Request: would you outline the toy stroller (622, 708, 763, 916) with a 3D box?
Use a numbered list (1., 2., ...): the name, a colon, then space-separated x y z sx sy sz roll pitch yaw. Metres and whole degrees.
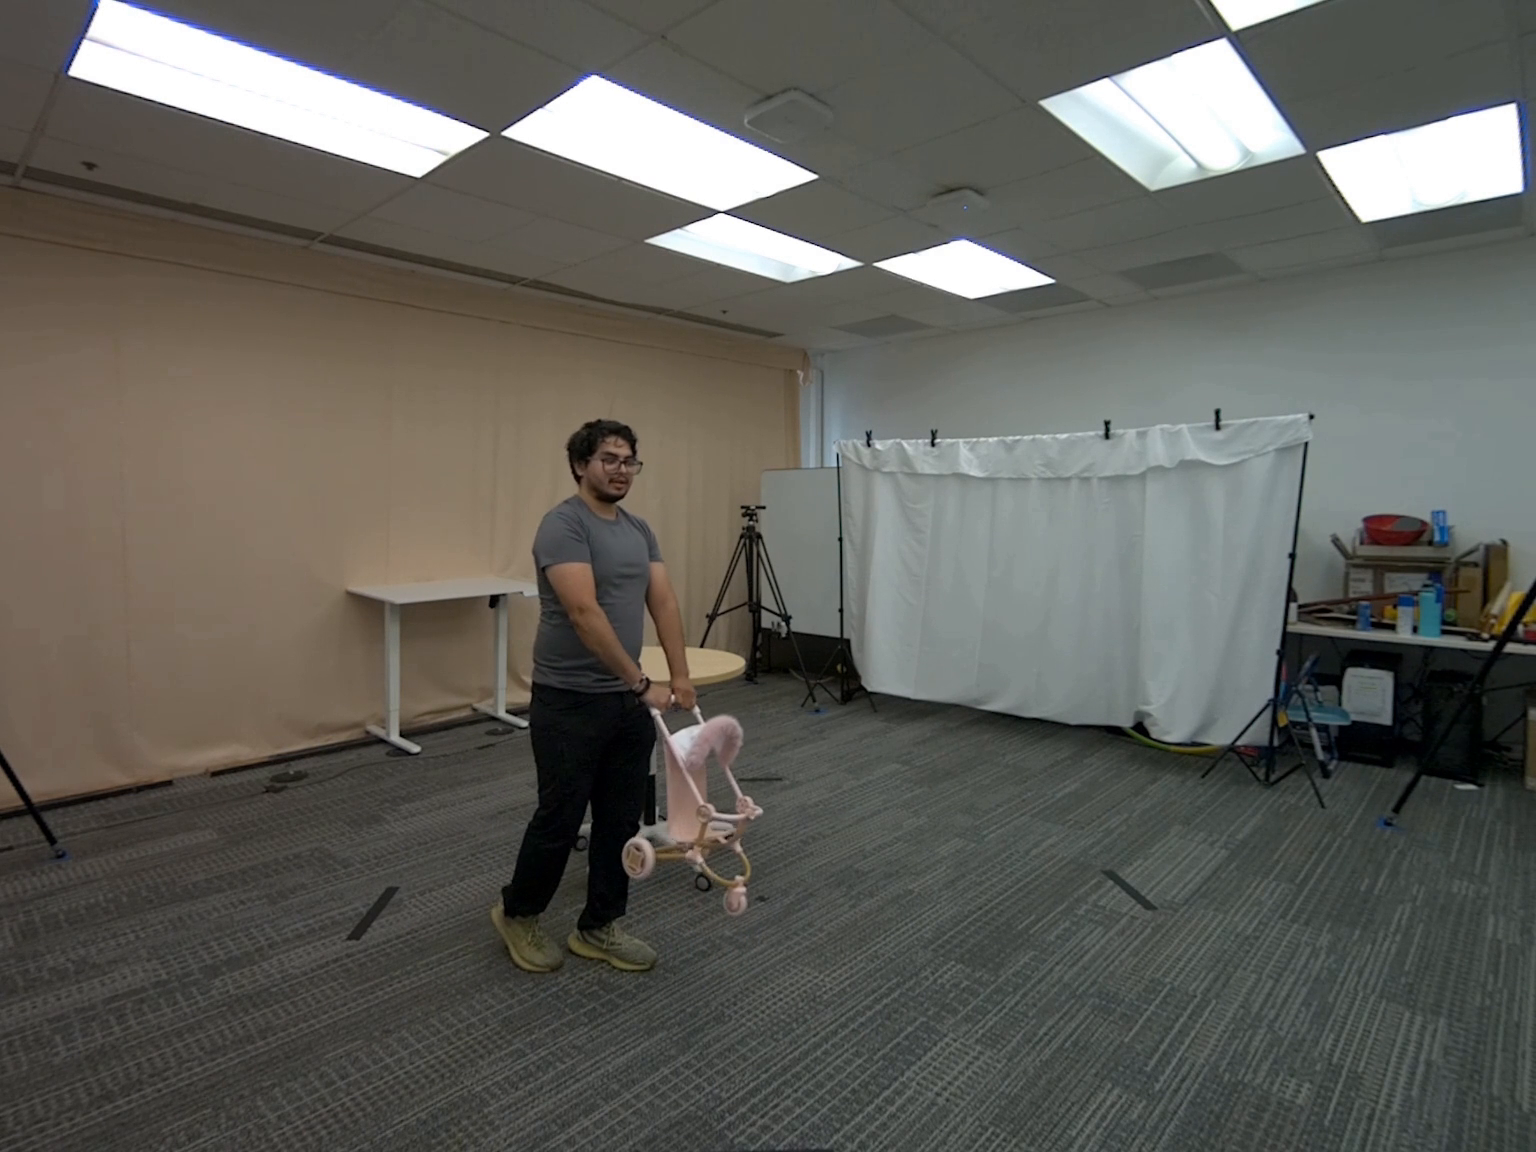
1. toy stroller: -0.175 0.621 2.293 0.352 0.537 0.272 0 -8 38
